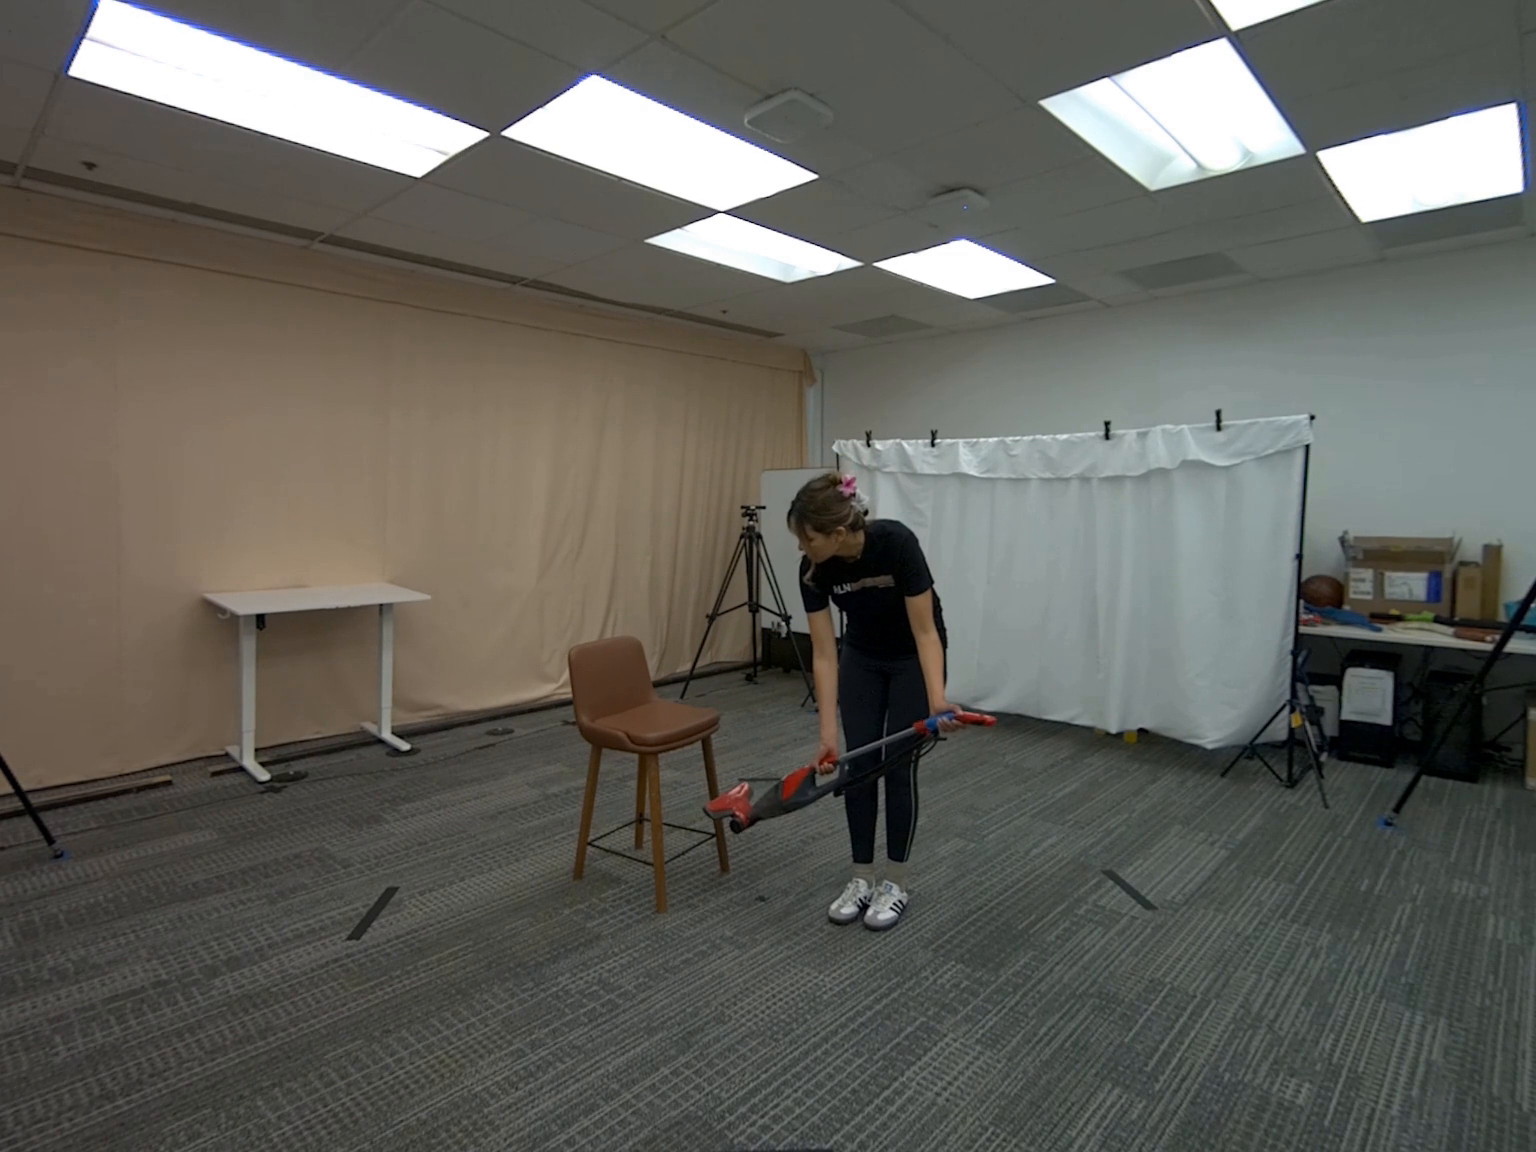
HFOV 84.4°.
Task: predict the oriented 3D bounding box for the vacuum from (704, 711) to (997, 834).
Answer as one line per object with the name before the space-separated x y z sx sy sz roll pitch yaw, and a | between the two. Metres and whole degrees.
vacuum | 0.253 0.631 2.662 1.067 0.145 0.246 -31 -8 37
